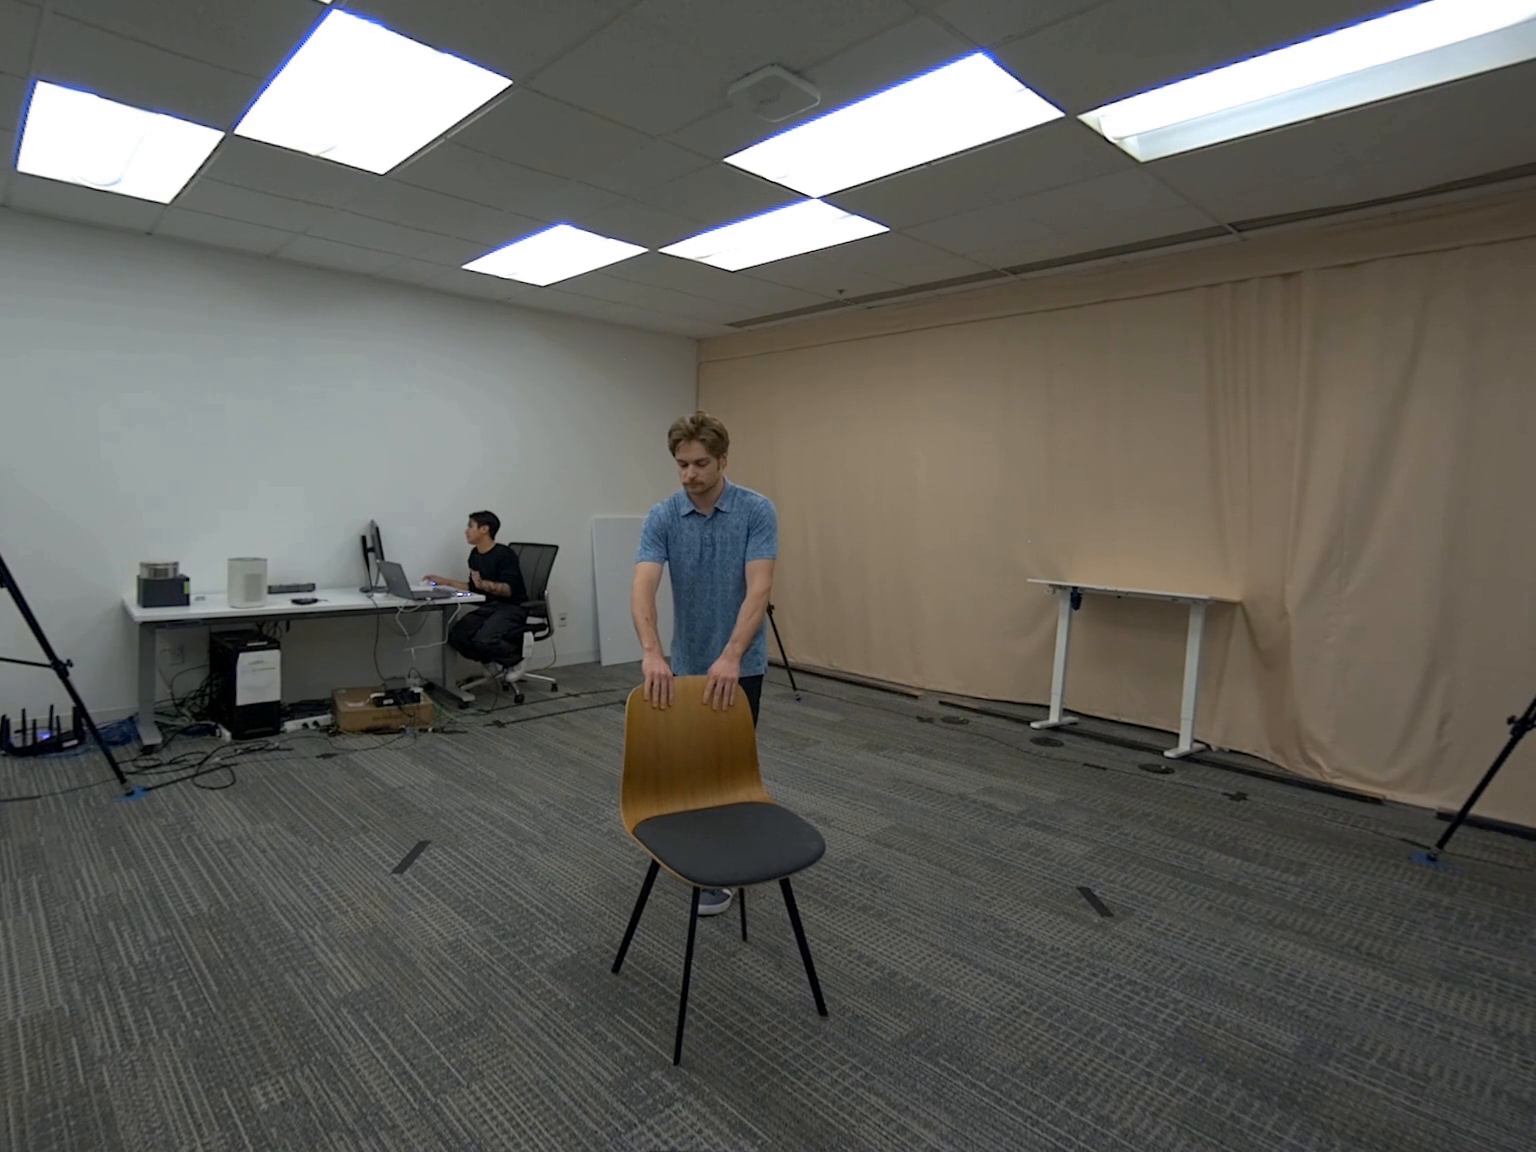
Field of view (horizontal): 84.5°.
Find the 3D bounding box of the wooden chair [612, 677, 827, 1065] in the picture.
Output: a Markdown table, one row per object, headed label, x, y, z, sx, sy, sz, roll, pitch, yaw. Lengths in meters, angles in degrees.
| label | x | y | z | sx | sy | sz | roll | pitch | yaw |
| --- | --- | --- | --- | --- | --- | --- | --- | --- | --- |
| wooden chair | -0.144 | 0.751 | 2.322 | 0.468 | 0.878 | 0.533 | -1 | 0 | -30 |
